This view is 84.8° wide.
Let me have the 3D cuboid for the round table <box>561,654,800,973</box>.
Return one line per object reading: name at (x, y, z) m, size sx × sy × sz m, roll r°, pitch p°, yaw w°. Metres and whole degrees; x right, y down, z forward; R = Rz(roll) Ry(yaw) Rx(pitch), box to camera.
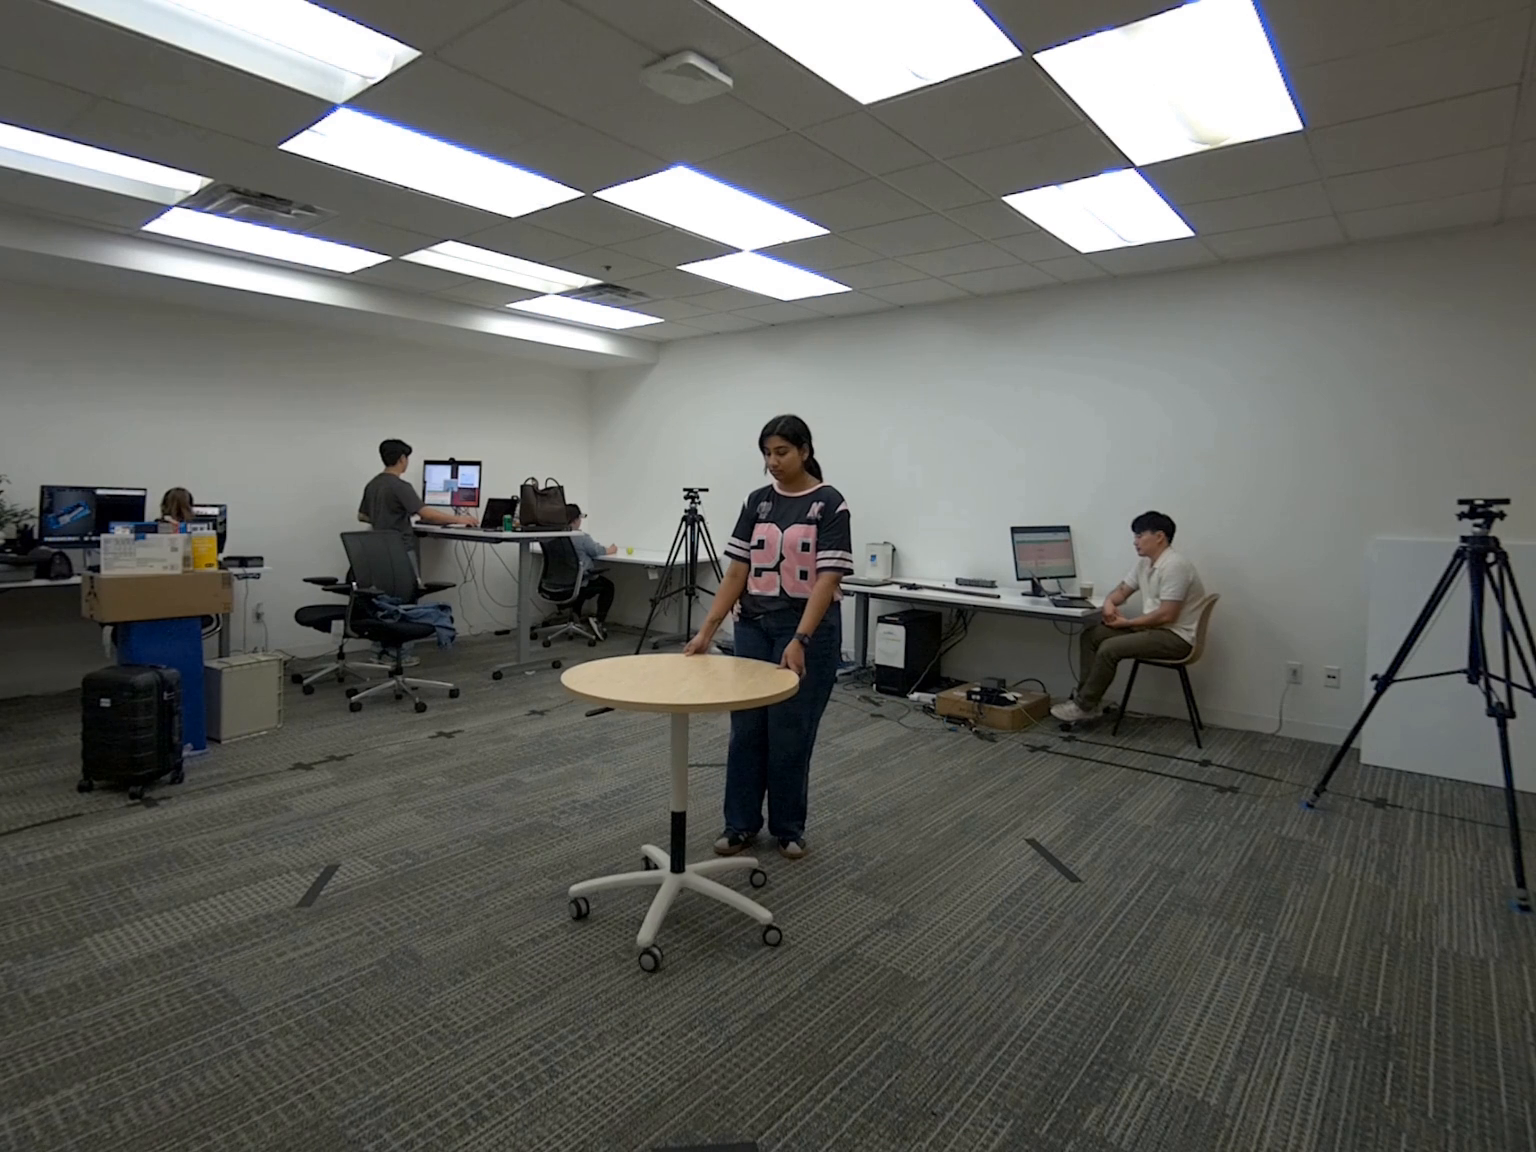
round table at (-0.283, 0.706, 2.771) m, size 0.784 × 0.784 × 0.789 m, roll 0°, pitch 4°, yaw -2°
